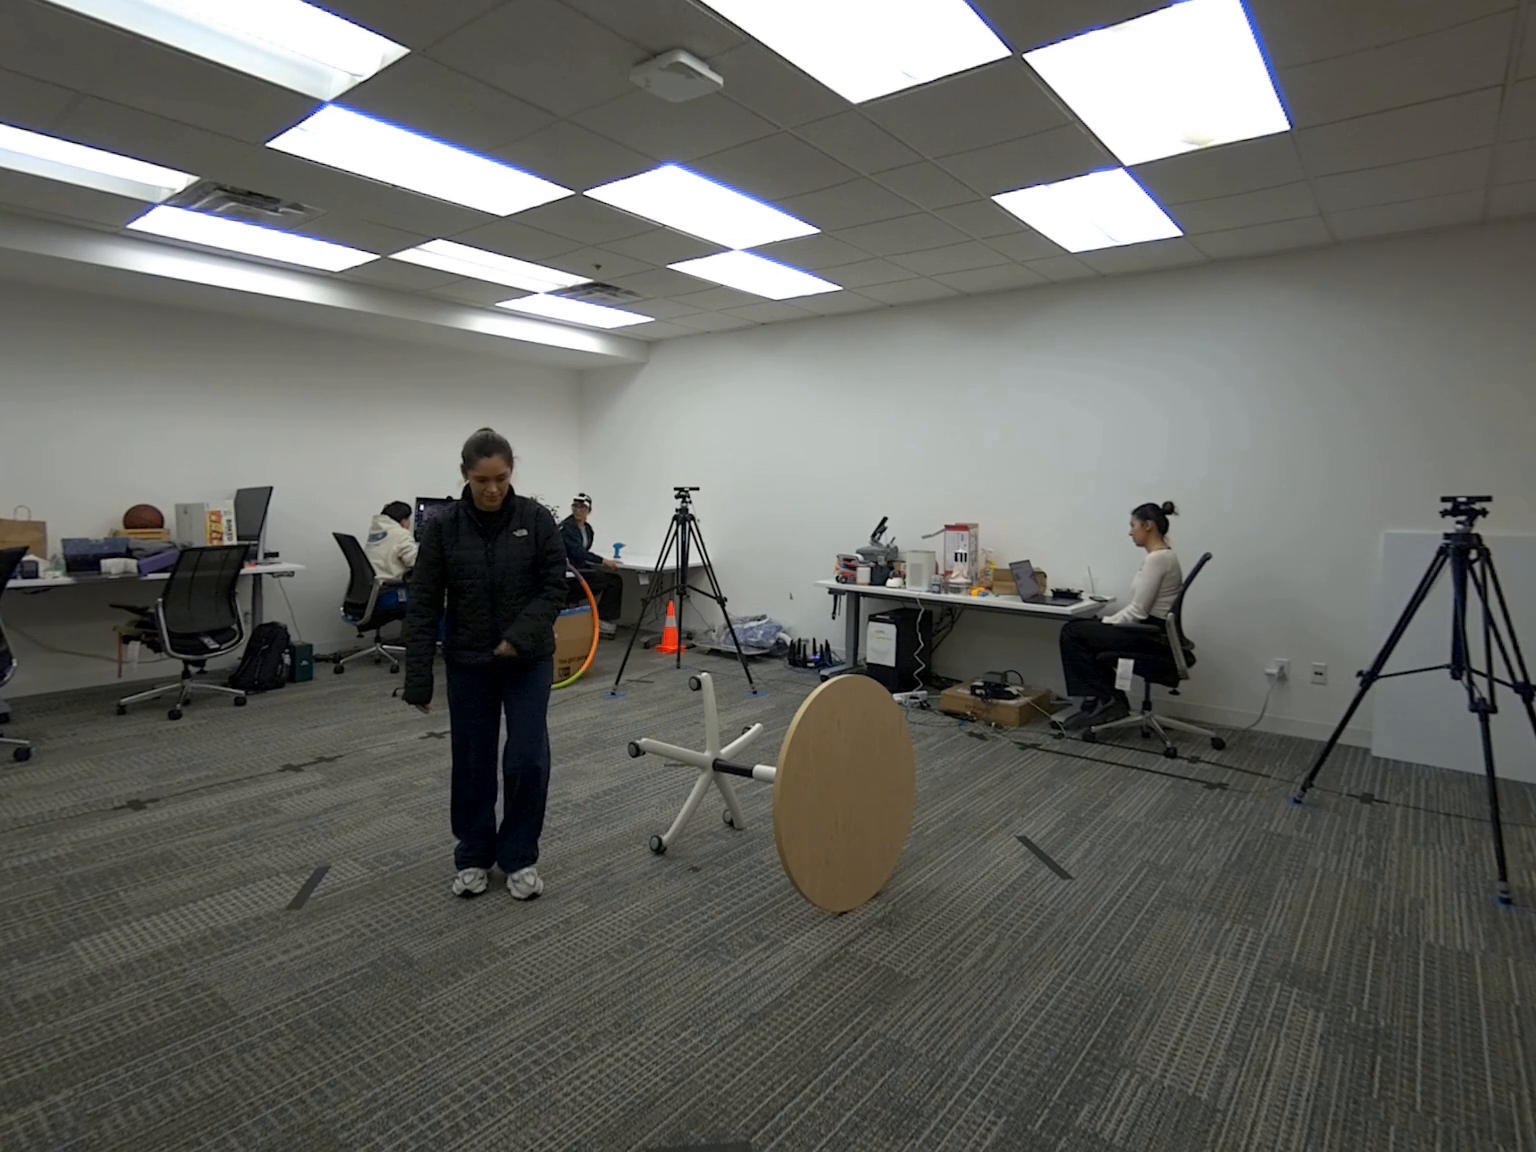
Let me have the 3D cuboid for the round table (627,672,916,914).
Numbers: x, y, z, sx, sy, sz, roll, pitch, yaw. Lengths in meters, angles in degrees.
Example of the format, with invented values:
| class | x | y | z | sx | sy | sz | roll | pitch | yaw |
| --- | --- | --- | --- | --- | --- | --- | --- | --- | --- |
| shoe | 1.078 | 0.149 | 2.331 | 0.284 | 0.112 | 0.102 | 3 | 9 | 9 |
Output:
| class | x | y | z | sx | sy | sz | roll | pitch | yaw |
| --- | --- | --- | --- | --- | --- | --- | --- | --- | --- |
| round table | 0.010 | 0.729 | 3.157 | 0.810 | 0.785 | 0.761 | -3 | 1 | 45 |
